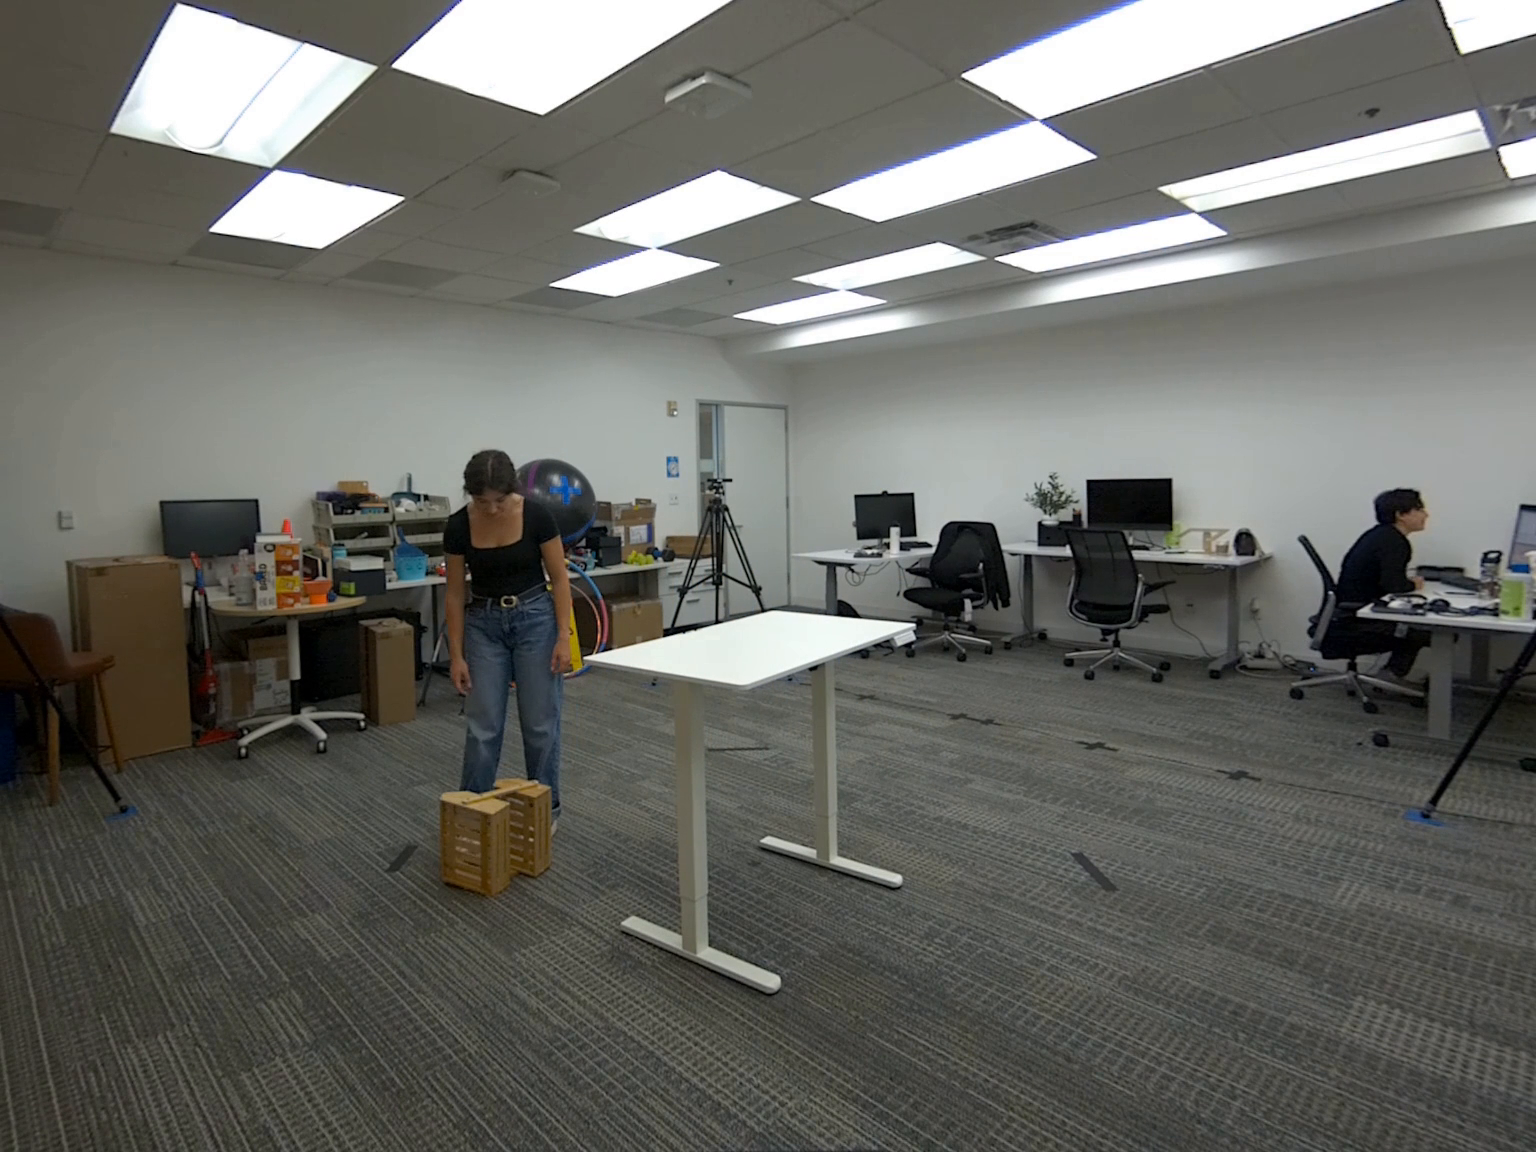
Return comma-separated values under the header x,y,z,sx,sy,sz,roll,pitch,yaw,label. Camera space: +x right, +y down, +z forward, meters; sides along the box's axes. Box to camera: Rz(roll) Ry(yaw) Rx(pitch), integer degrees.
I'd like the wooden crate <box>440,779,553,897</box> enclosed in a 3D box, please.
x,y,z,sx,sy,sz,roll,pitch,yaw,label
-0.966,0.910,3.029,0.309,0.322,0.269,7,11,22,wooden crate
